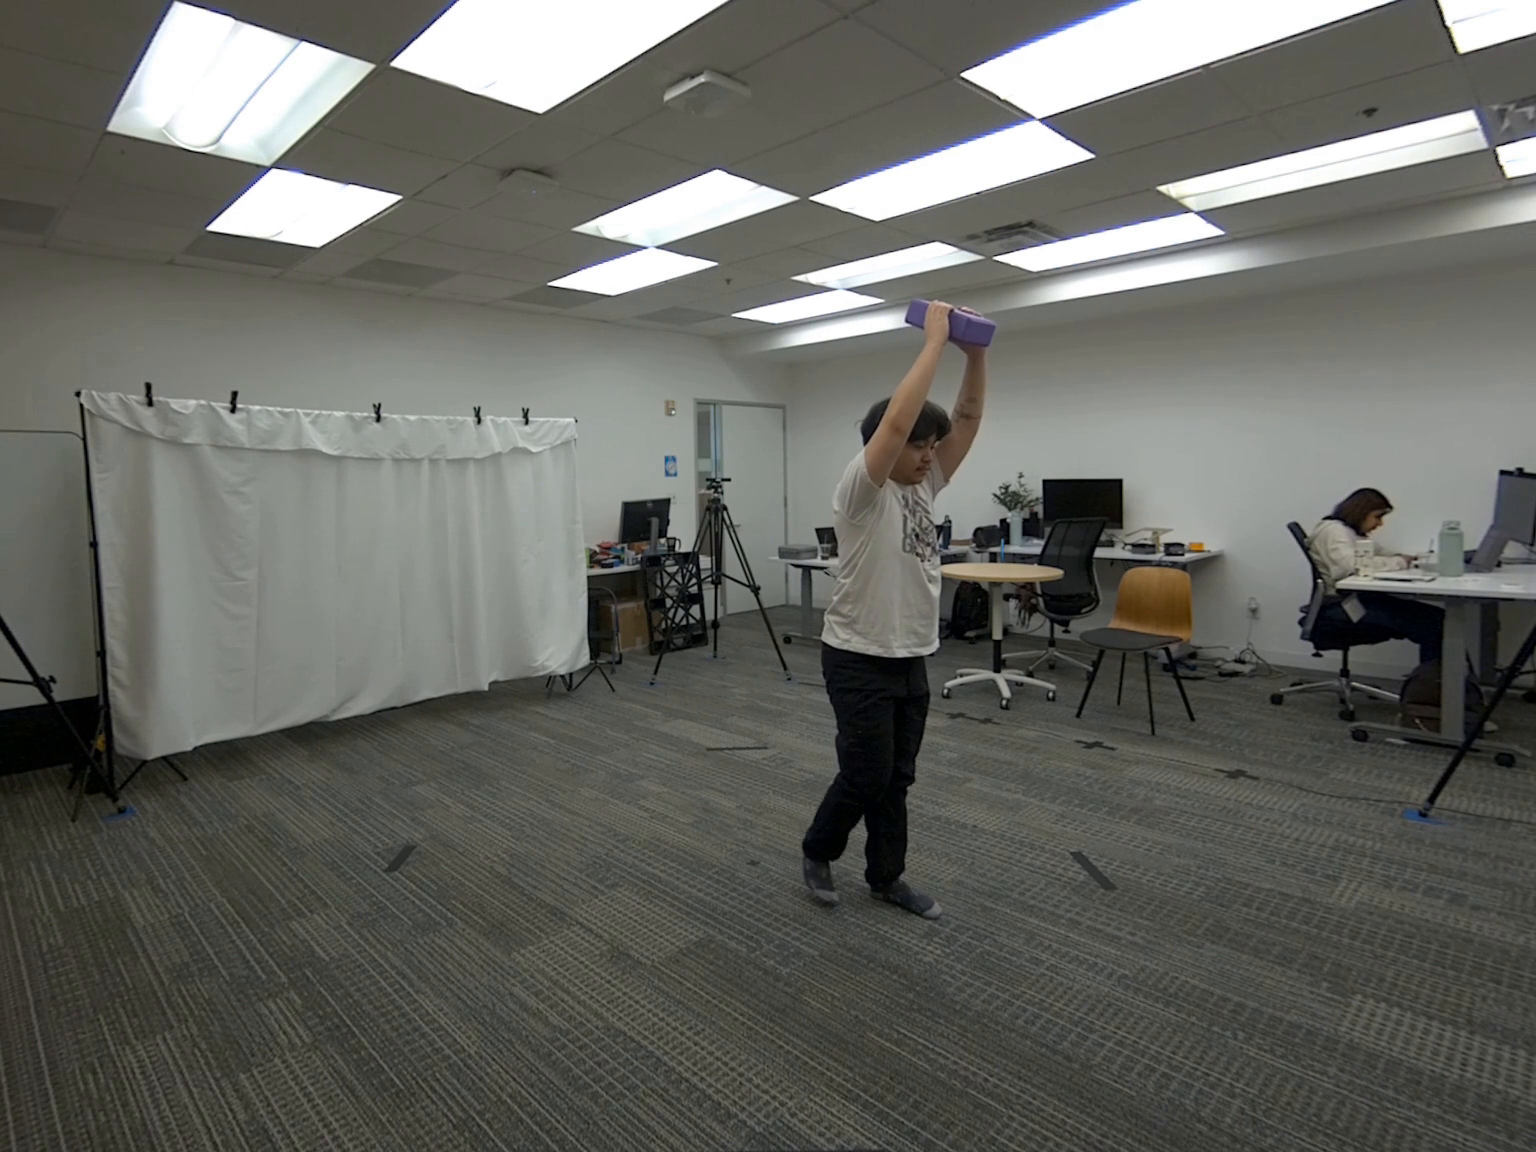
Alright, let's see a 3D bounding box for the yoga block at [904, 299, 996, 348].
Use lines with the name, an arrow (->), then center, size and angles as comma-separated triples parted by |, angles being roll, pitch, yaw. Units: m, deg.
yoga block -> 0.542, -0.757, 2.552 | 0.145, 0.075, 0.238 | -5, 31, -42
